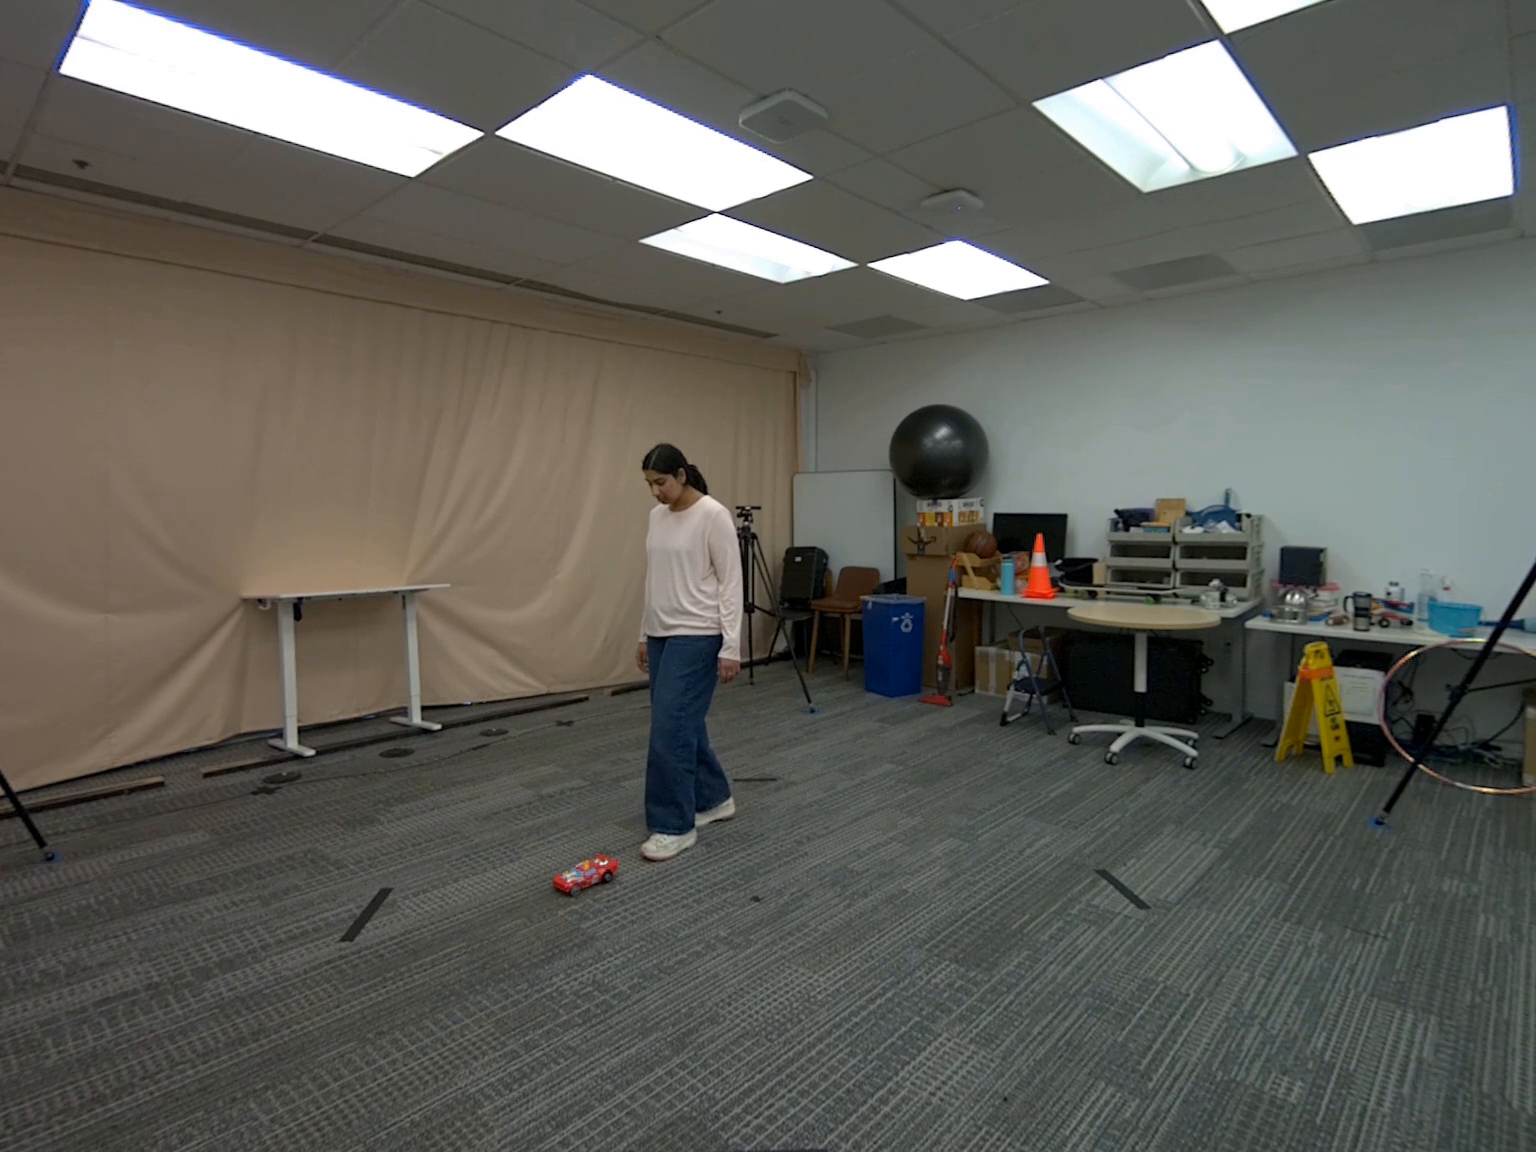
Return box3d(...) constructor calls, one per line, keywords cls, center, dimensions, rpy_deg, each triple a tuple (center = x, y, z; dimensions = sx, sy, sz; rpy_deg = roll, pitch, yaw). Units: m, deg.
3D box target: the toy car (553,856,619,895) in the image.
box3d(cls="toy car", center=(-0.667, 1.102, 3.121), dimensions=(0.134, 0.082, 0.248), rpy_deg=(2, 16, 43))
